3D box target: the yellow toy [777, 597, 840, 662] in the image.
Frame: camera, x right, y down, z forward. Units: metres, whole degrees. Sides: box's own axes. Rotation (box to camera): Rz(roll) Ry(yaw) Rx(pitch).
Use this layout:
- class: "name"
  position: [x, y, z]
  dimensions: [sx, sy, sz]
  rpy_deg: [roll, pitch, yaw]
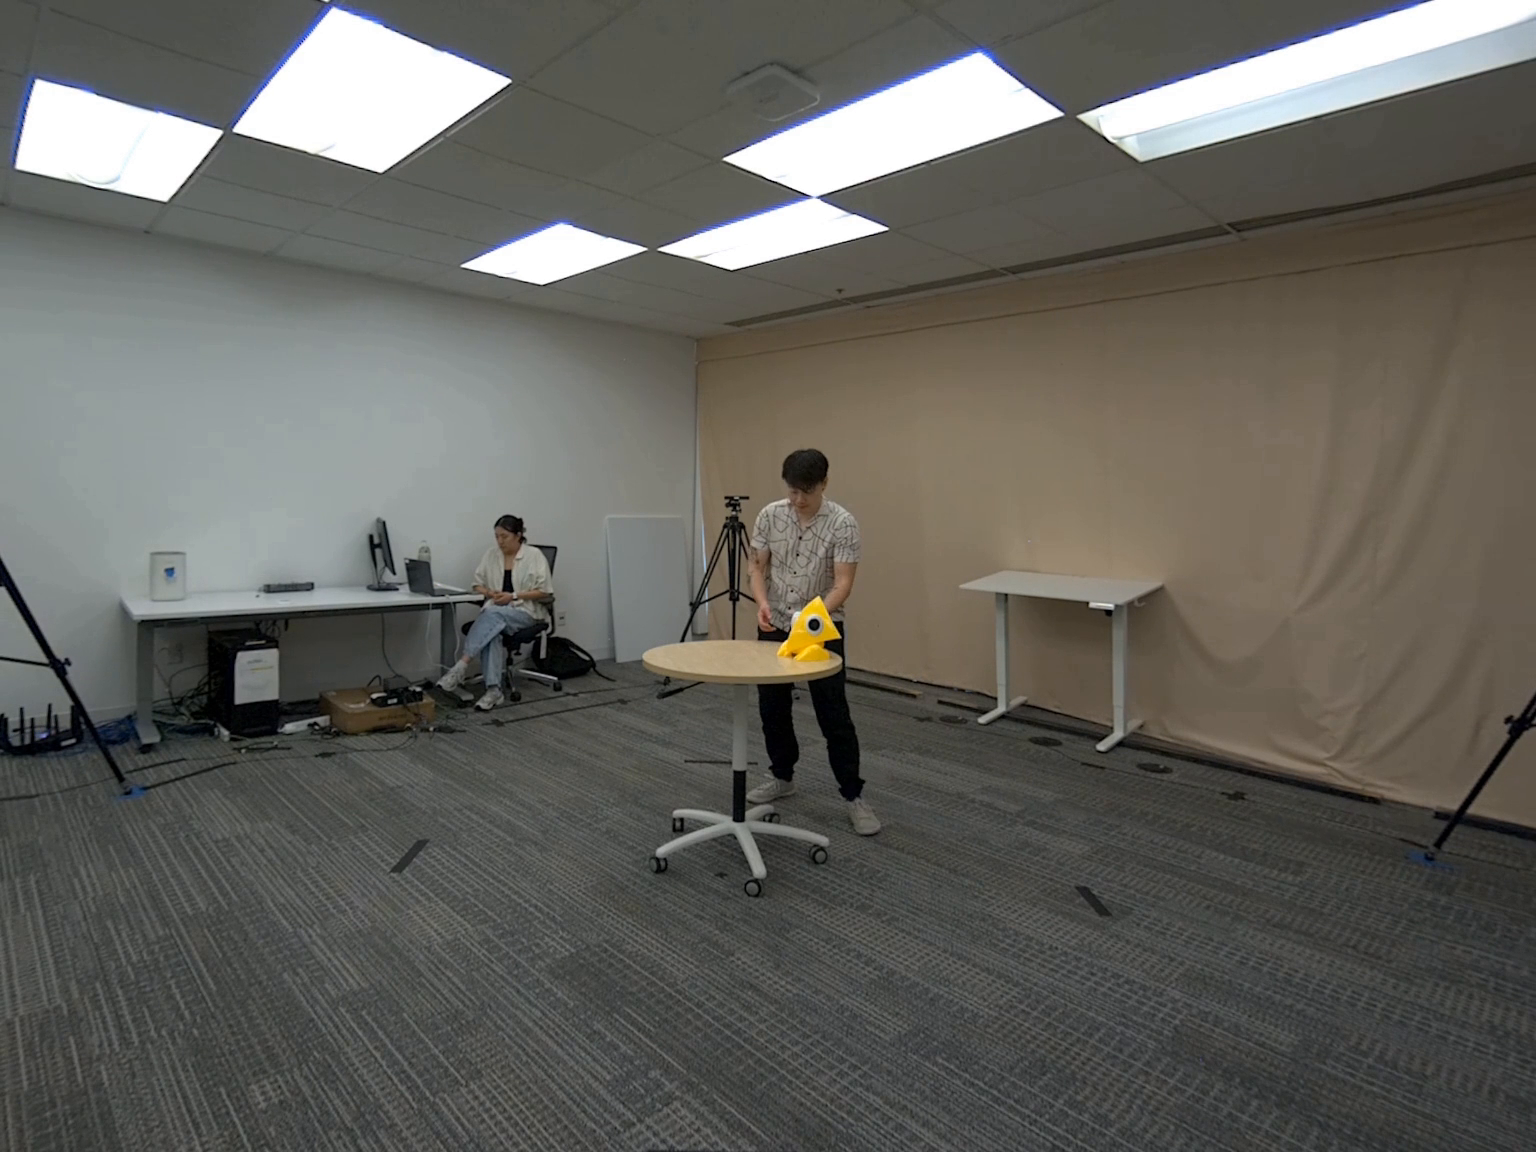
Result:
- class: "yellow toy"
  position: [0.144, 0.197, 3.255]
  dimensions: [0.189, 0.230, 0.209]
  rpy_deg: [-2, 5, -33]
